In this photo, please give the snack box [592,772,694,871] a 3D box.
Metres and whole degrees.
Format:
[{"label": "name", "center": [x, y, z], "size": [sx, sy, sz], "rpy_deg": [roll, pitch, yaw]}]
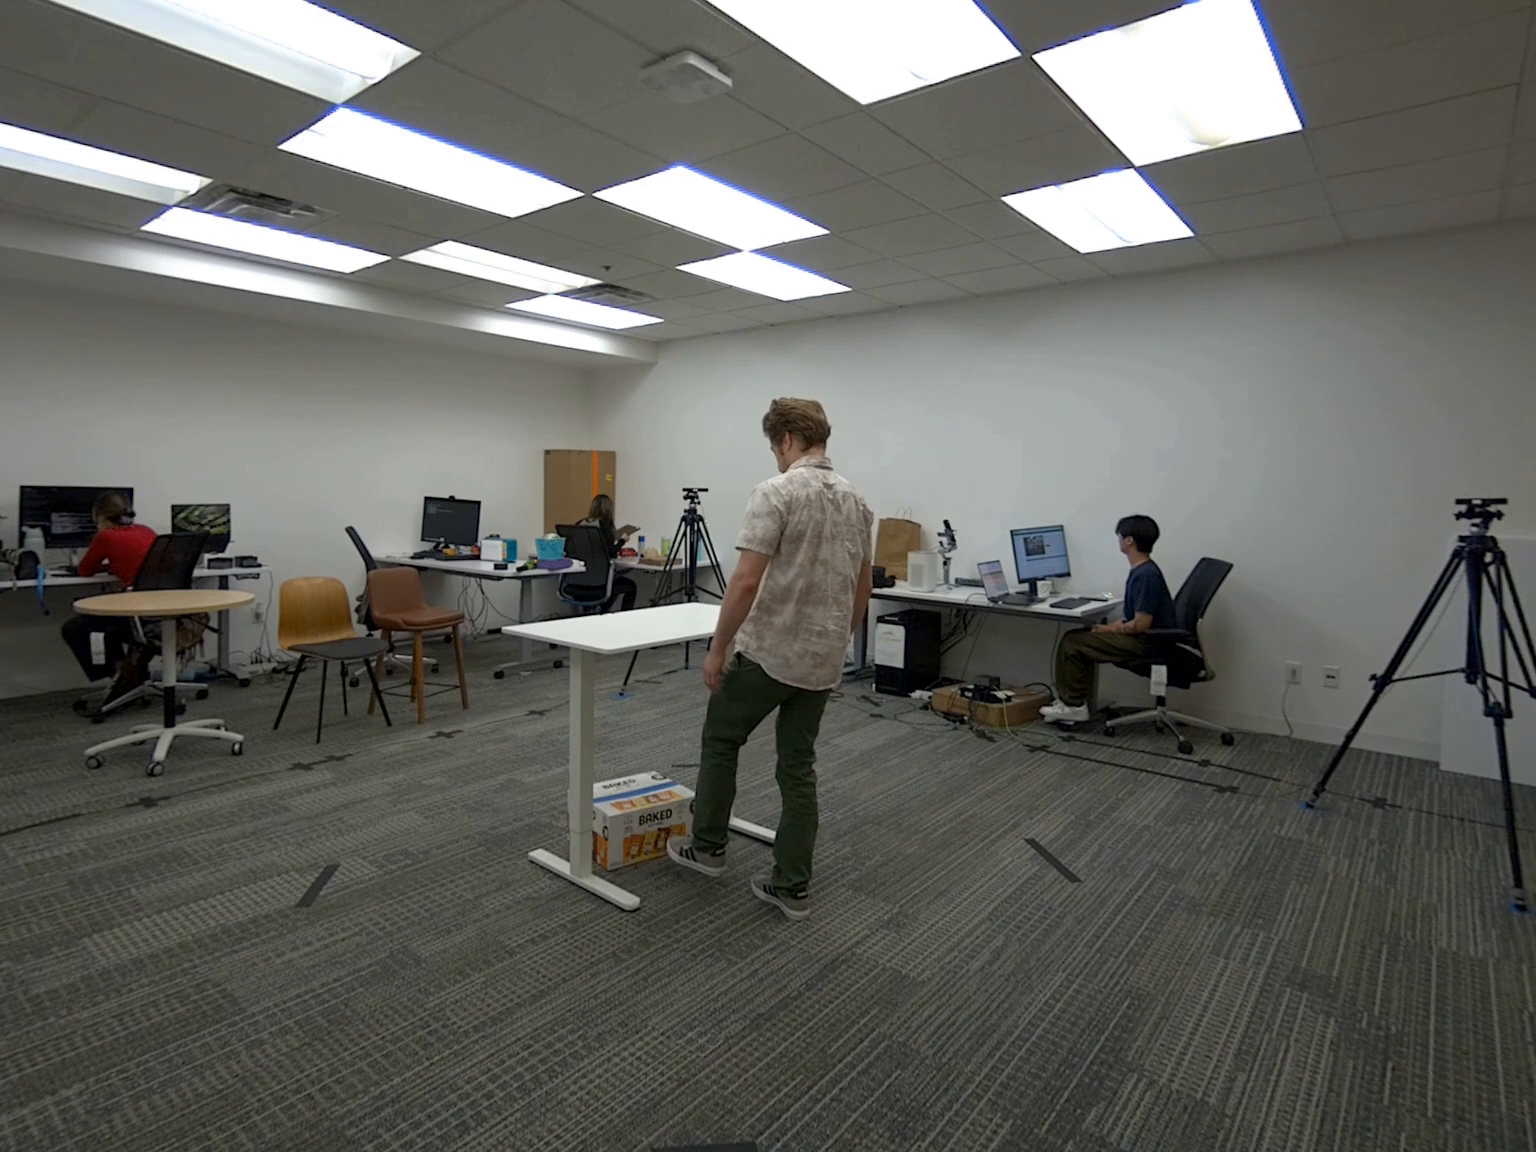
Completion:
[{"label": "snack box", "center": [-0.539, 0.943, 3.324], "size": [0.393, 0.205, 0.352], "rpy_deg": [-3, 7, -38]}]
